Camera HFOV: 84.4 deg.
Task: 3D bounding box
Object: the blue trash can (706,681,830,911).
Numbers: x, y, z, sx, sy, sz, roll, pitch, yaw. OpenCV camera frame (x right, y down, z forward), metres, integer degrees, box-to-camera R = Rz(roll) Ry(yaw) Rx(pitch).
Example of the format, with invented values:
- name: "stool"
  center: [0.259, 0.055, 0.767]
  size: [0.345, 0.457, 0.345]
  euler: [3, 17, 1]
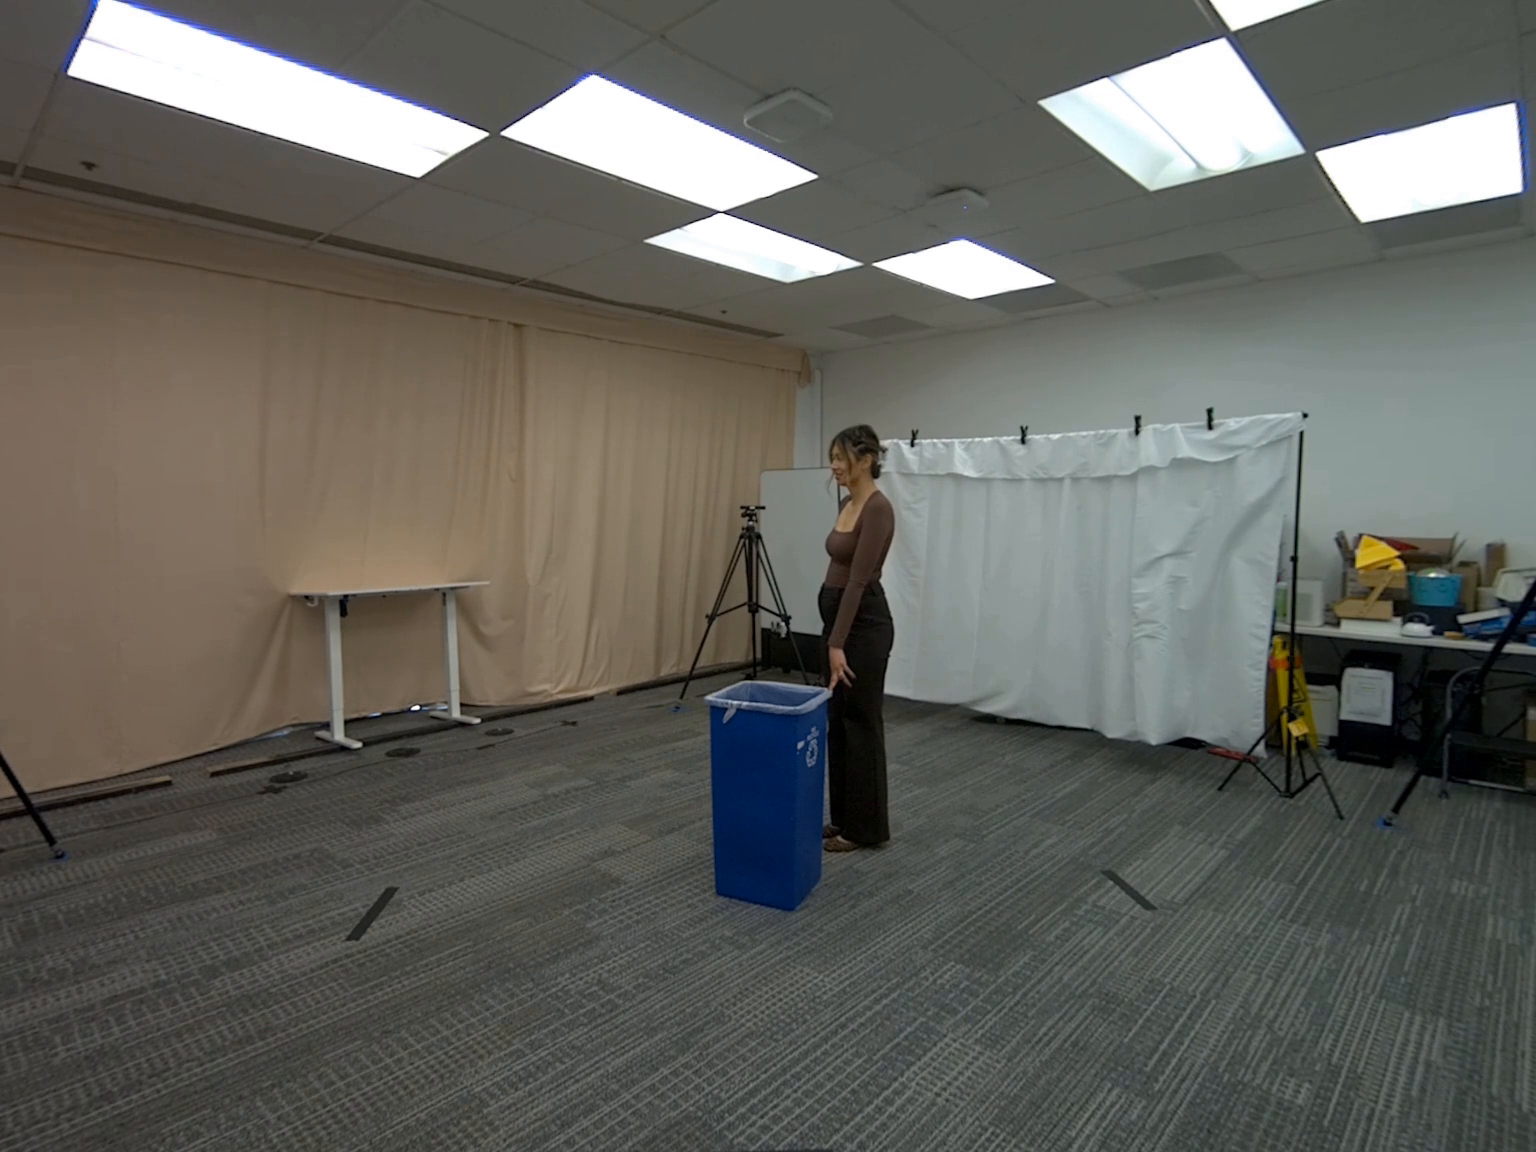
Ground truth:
- name: "blue trash can"
  center: [0.008, 0.777, 3.070]
  size: [0.388, 0.712, 0.365]
  euler: [2, 4, 25]
